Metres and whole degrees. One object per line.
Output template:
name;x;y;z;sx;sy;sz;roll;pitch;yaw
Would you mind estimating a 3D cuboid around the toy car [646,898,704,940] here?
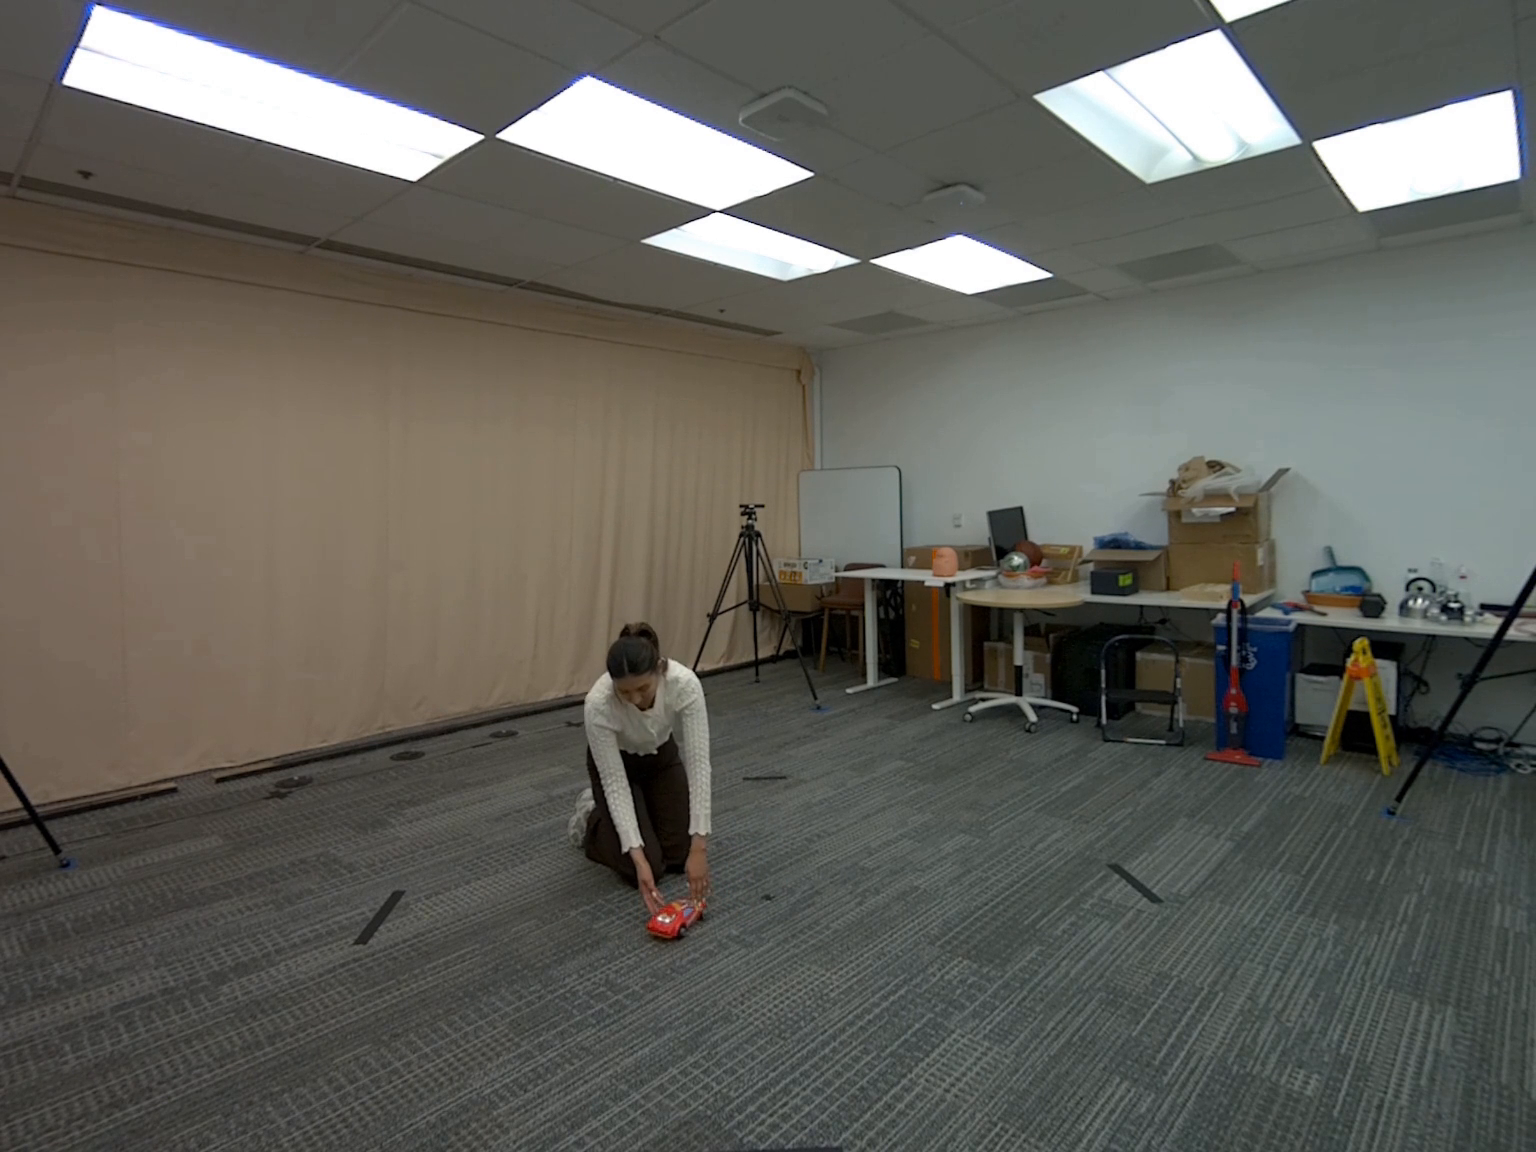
toy car;-0.300;1.129;2.774;0.134;0.083;0.246;3;-5;30
